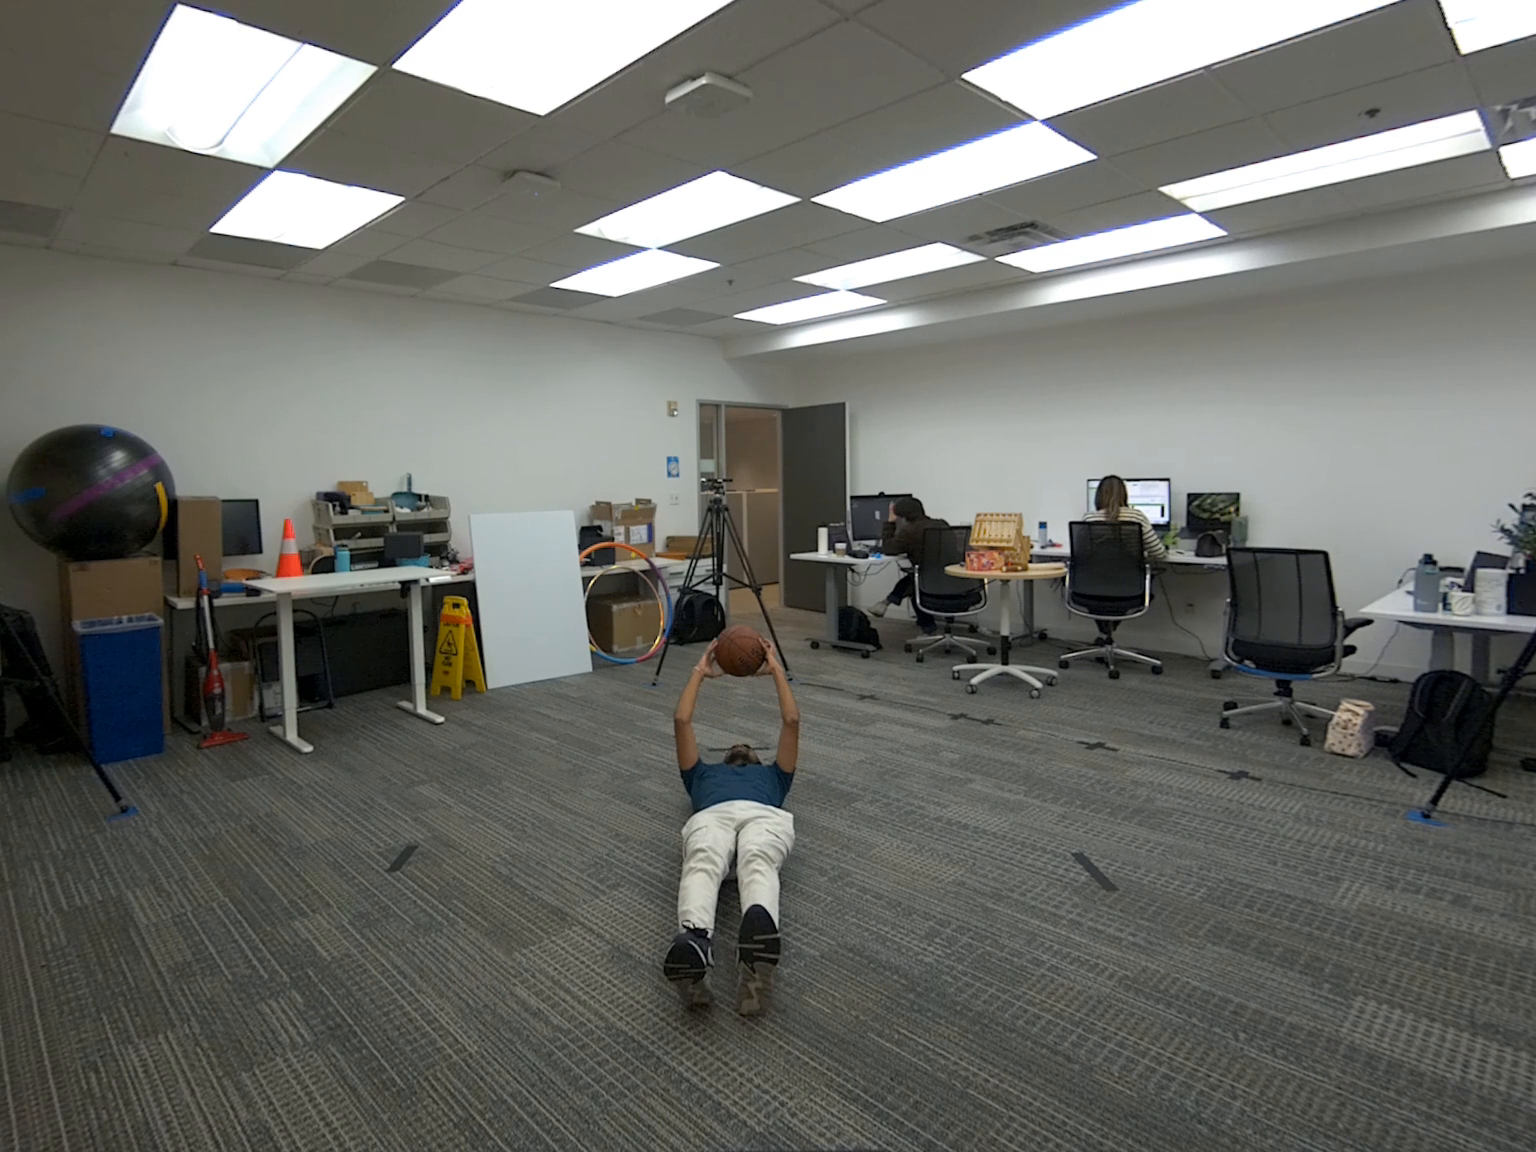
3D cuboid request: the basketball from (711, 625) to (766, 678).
[{"bbox_3d":[-0.123,0.339,3.893,0.236,0.235,0.237,-1,5,-2],"label":"basketball"}]
